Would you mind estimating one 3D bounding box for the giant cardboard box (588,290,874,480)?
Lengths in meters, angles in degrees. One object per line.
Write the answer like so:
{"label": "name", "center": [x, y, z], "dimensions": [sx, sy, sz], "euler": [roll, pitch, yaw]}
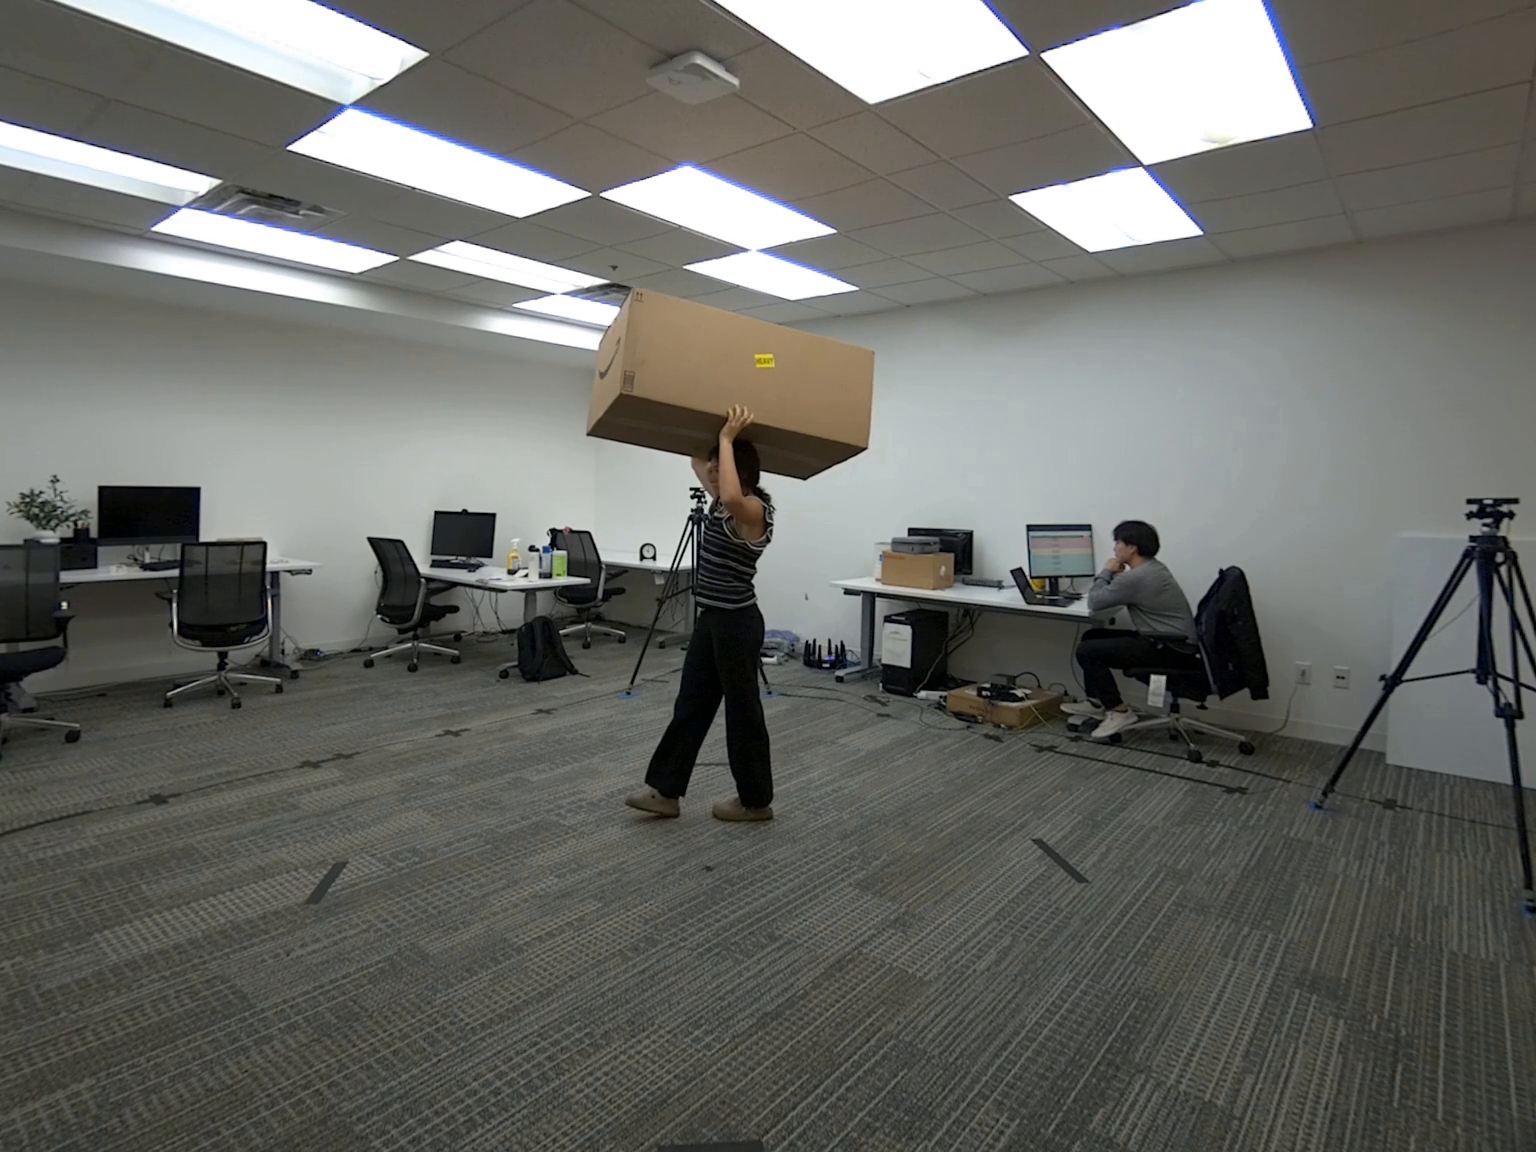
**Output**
{"label": "giant cardboard box", "center": [-0.178, -0.756, 3.505], "dimensions": [1.003, 0.430, 0.585], "euler": [10, -11, -20]}
